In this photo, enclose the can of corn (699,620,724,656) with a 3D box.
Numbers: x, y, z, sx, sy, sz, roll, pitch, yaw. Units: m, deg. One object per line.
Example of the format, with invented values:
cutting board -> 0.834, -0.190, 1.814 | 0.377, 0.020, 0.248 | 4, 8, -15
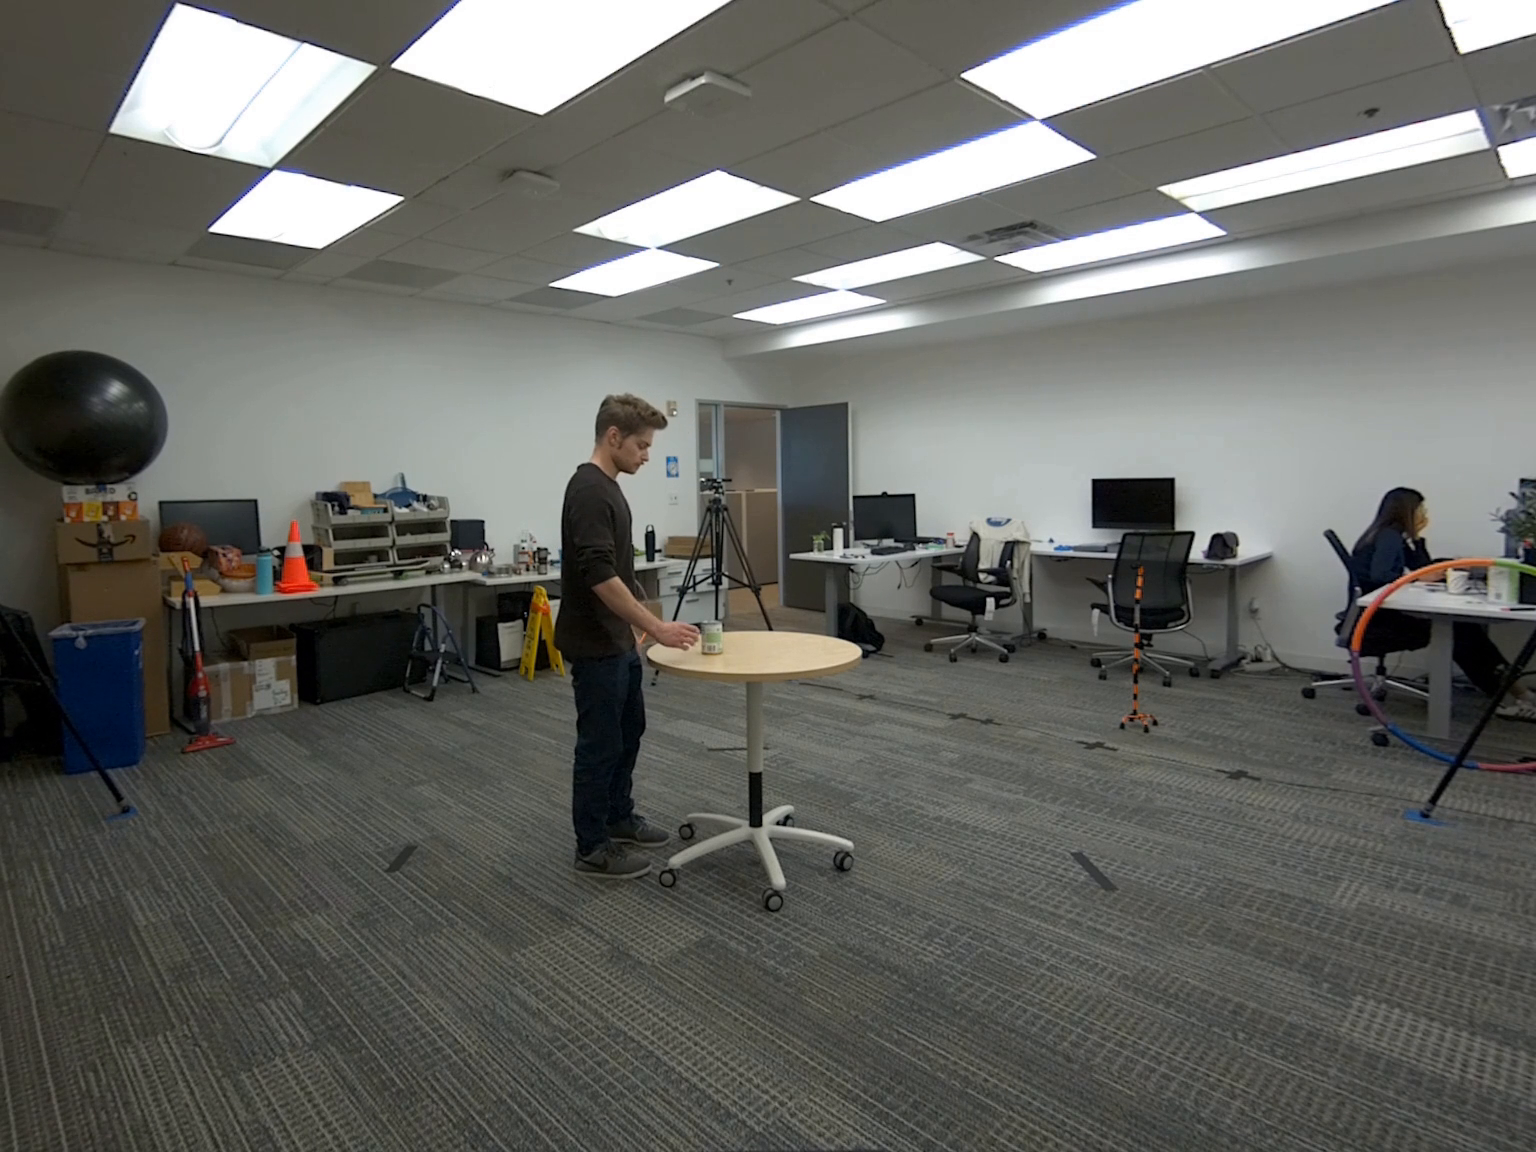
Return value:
can of corn -> -0.195, 0.219, 2.992 | 0.074, 0.110, 0.075 | -2, 6, -1
